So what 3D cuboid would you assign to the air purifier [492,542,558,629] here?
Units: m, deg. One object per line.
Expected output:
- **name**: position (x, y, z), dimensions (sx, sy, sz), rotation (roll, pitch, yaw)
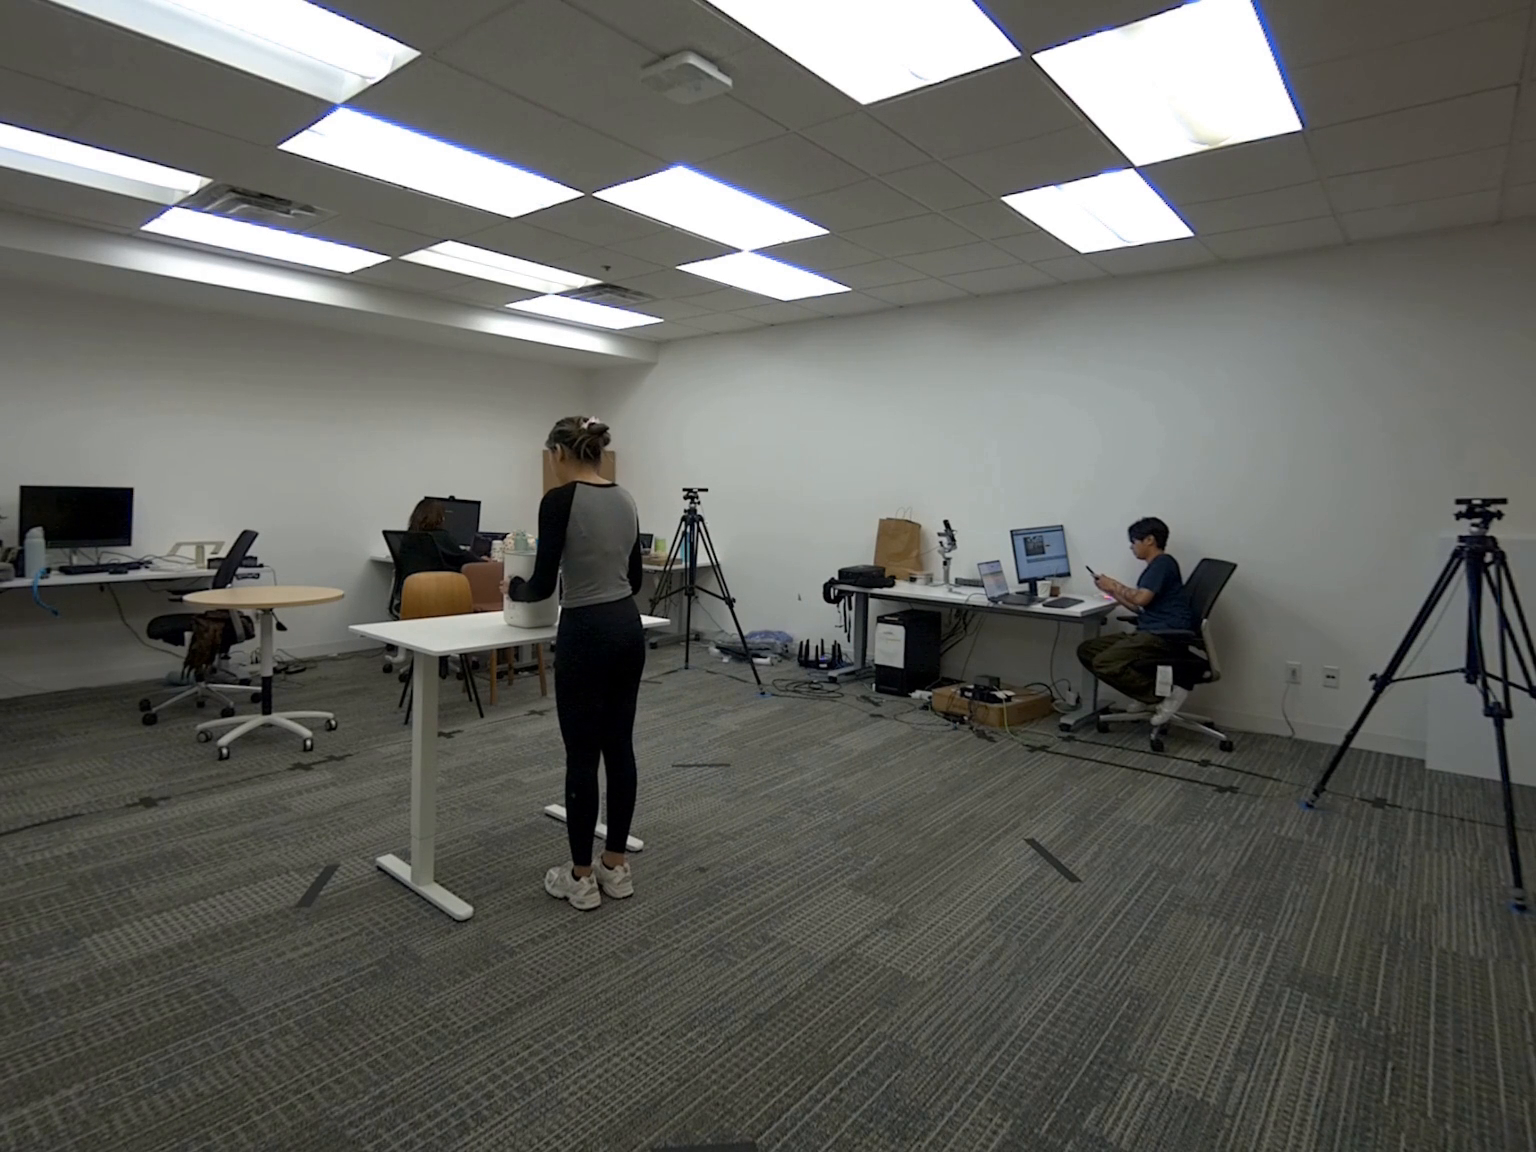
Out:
- **air purifier**: position (-0.876, 0.046, 3.109), dimensions (0.177, 0.265, 0.166), rotation (4, 3, 39)
